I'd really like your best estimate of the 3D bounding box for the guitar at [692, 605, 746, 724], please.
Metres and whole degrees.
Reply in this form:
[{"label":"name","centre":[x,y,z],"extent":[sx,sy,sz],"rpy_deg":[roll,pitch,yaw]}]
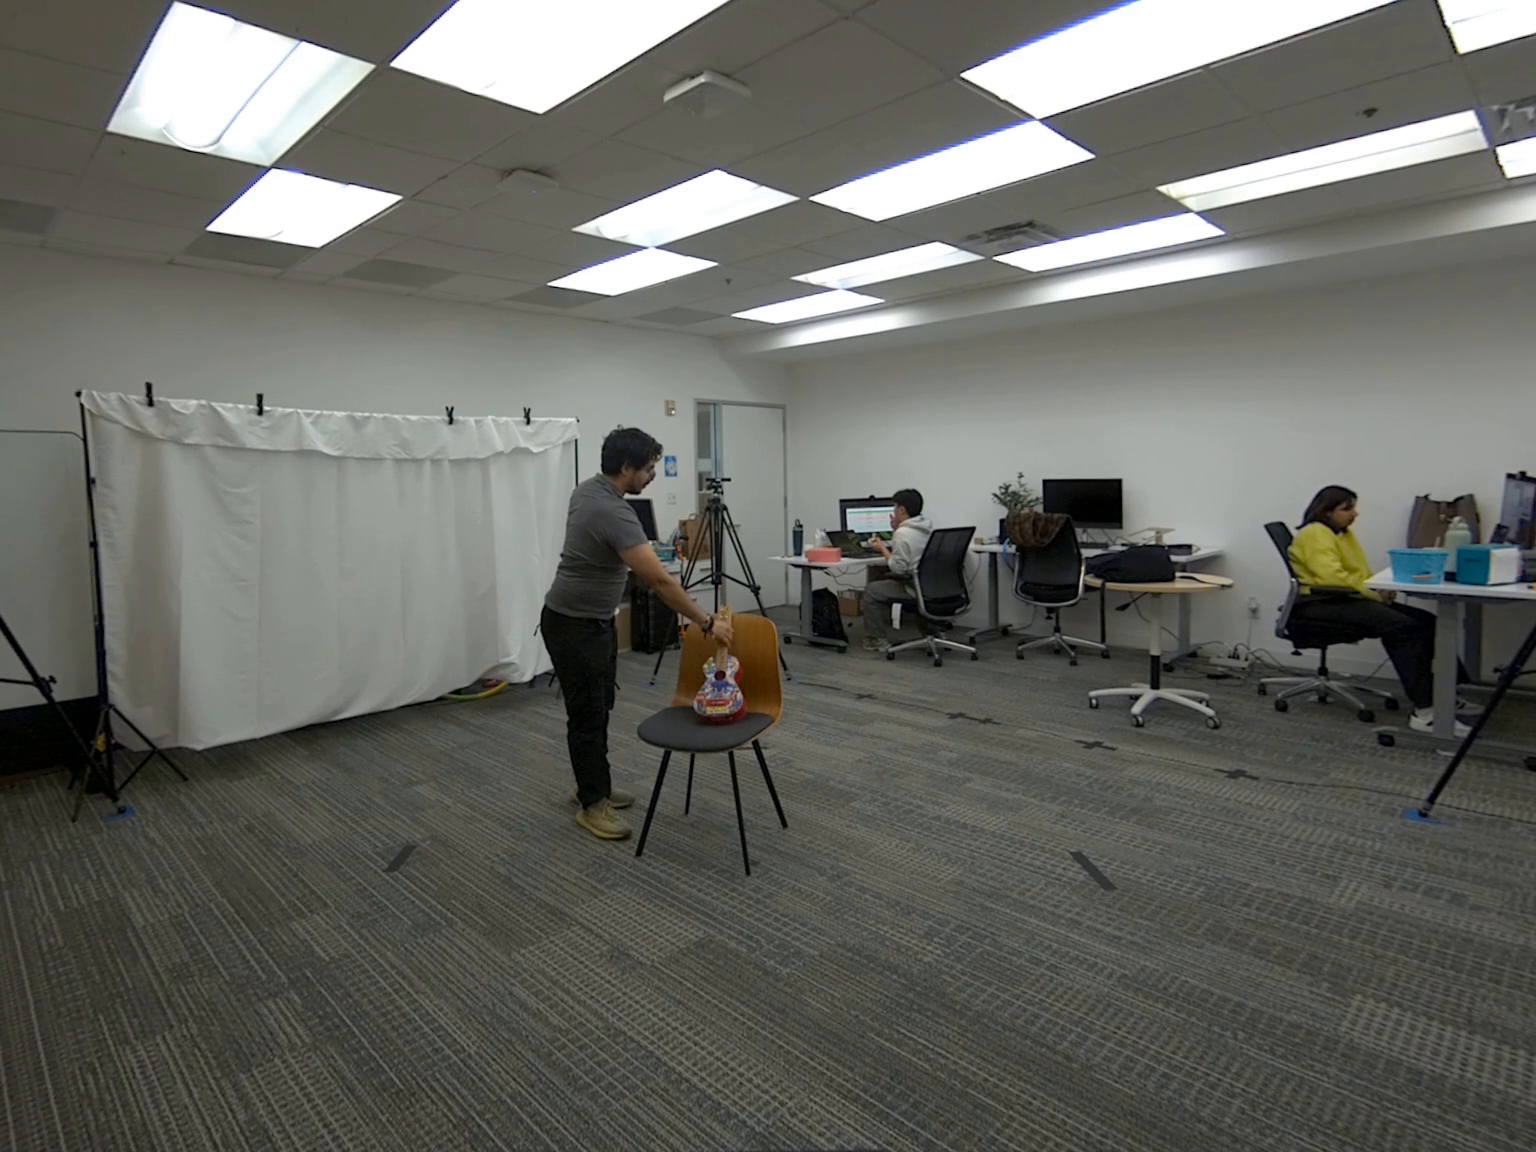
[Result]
[{"label":"guitar","centre":[-0.163,0.338,3.343],"extent":[0.196,0.508,0.068],"rpy_deg":[-1,-37,16]}]
